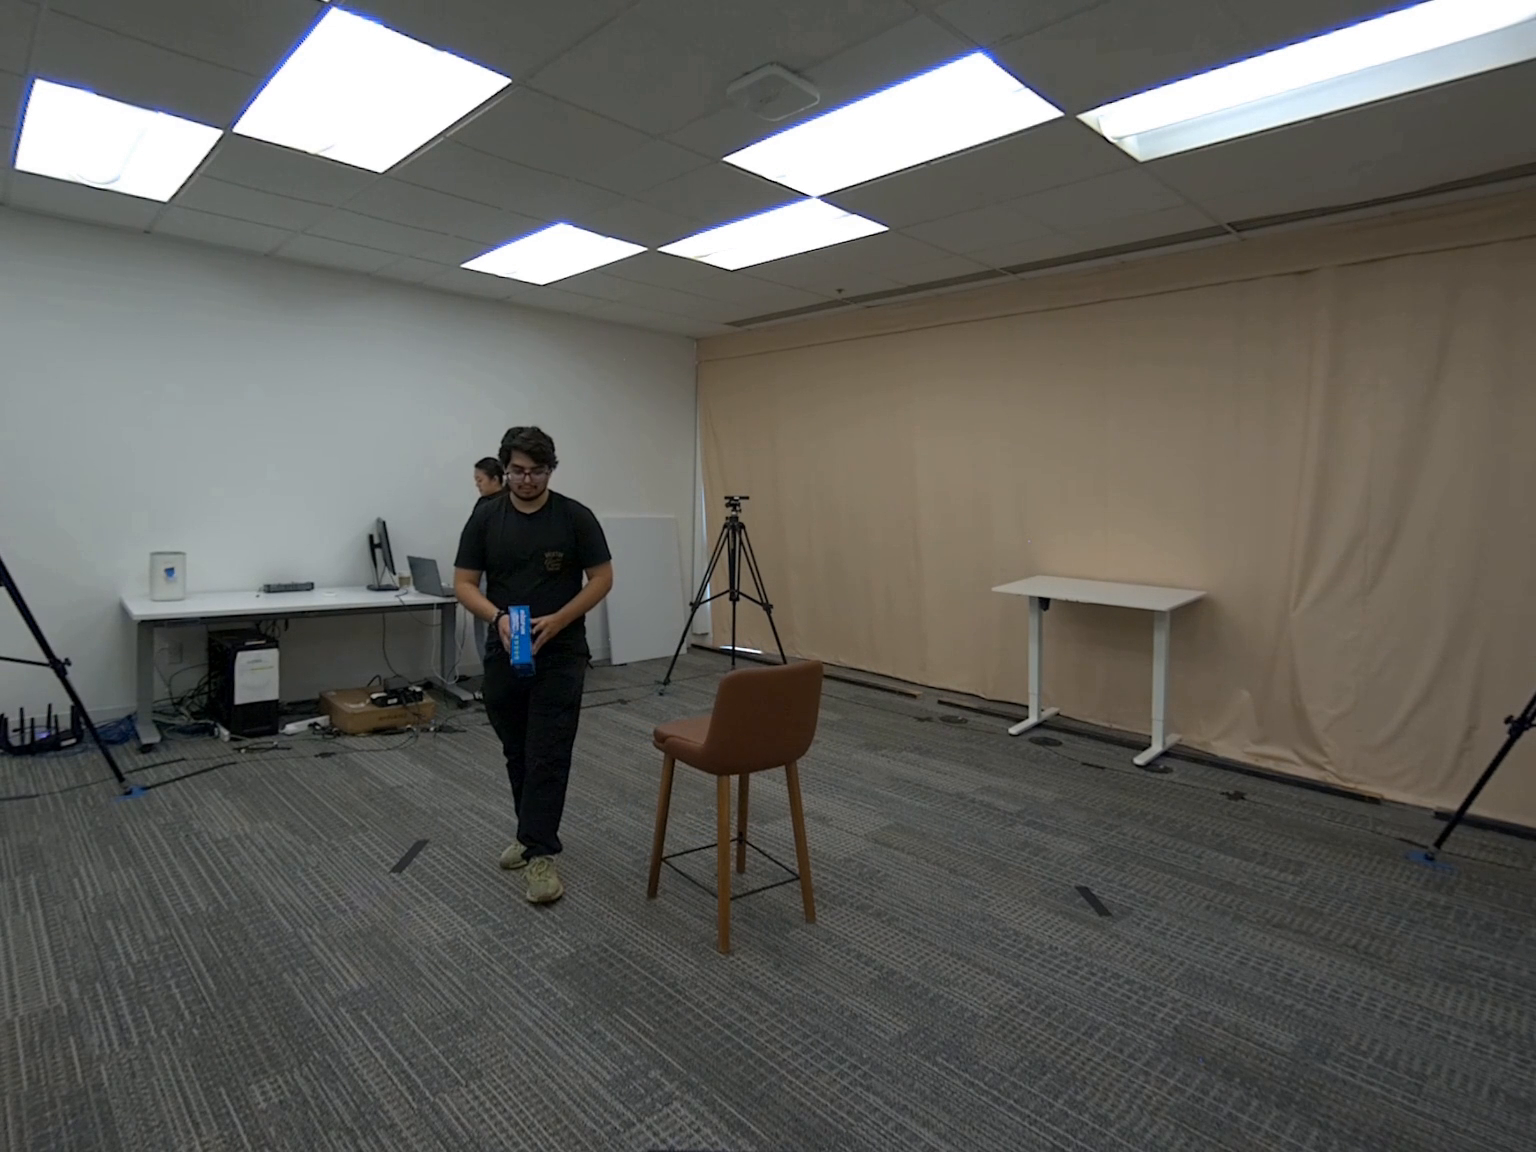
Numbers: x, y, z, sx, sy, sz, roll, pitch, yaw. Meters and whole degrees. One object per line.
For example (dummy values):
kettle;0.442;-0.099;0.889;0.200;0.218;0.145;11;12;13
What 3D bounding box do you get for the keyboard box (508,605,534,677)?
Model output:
keyboard box;-0.795;0.218;2.676;0.058;0.177;0.437;-2;-11;-14
